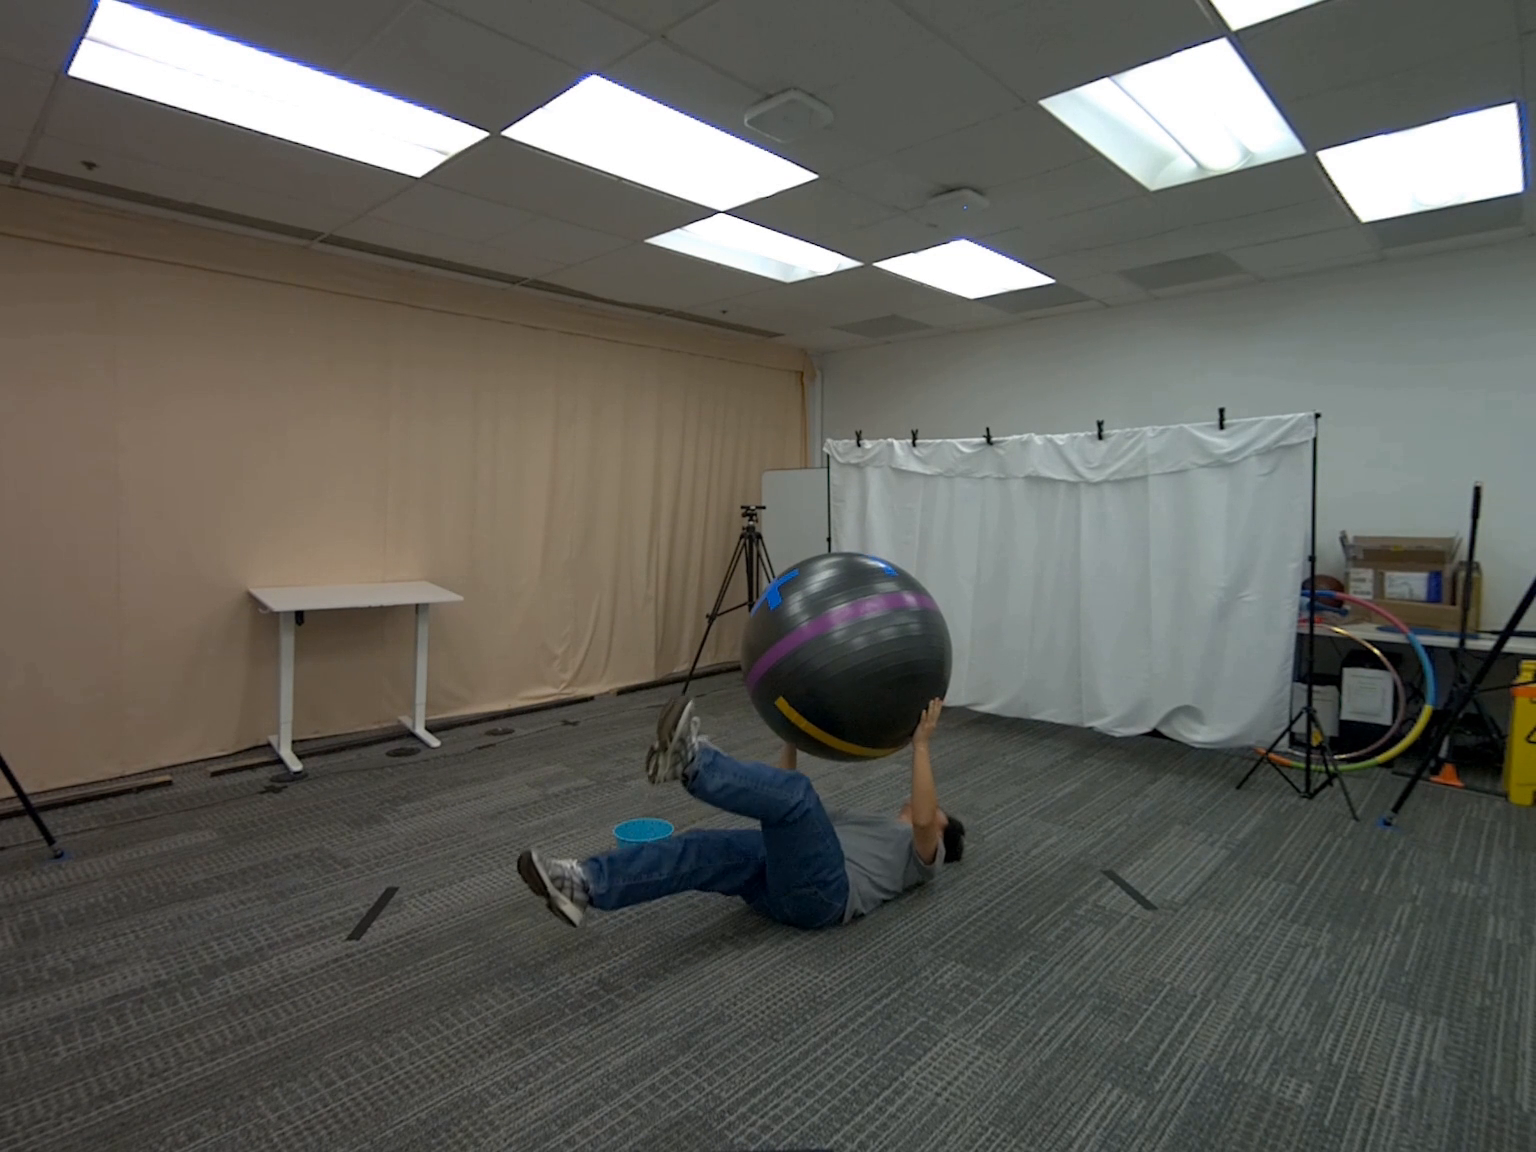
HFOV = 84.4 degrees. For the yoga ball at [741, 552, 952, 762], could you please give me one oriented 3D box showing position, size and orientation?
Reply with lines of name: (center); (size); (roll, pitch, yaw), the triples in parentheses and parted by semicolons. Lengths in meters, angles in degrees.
yoga ball: (0.282, 0.298, 3.088); (0.757, 0.756, 0.760); (0, 4, -2)
